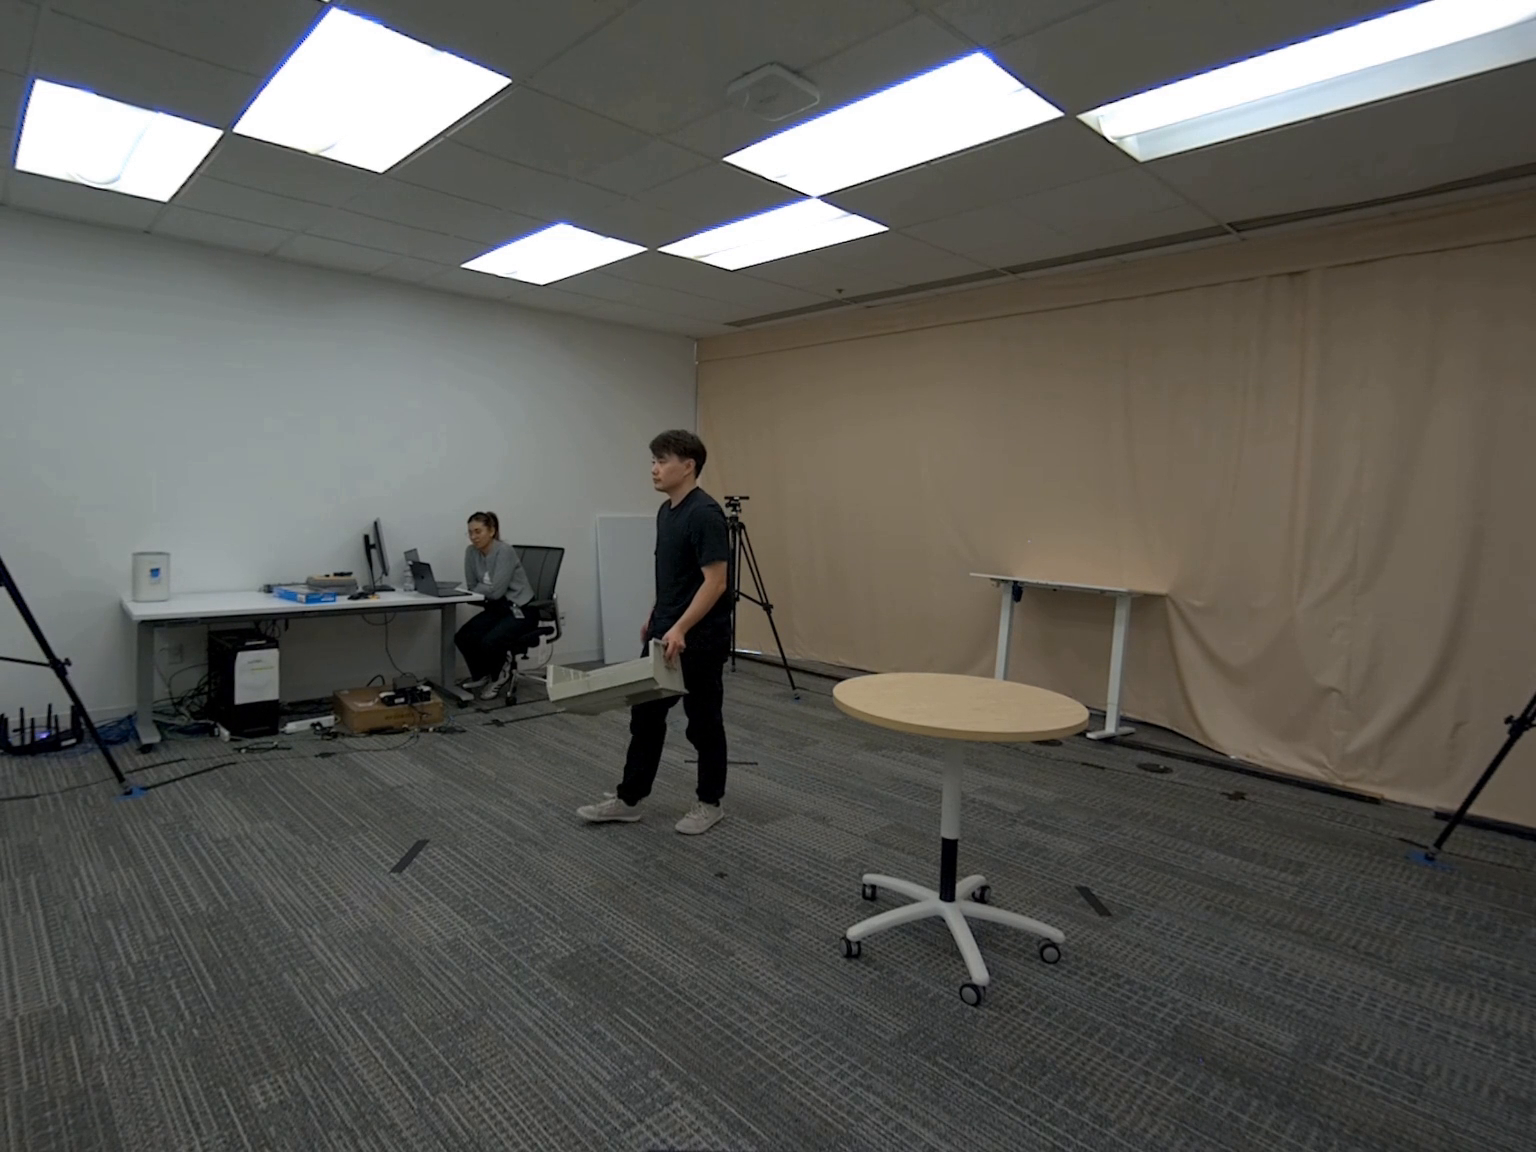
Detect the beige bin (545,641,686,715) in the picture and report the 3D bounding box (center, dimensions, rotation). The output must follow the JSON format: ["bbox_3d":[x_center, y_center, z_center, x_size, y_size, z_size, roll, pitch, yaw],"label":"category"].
[{"bbox_3d":[-0.573,0.382,3.171,0.425,0.192,0.369,-13,-16,12],"label":"beige bin"}]
